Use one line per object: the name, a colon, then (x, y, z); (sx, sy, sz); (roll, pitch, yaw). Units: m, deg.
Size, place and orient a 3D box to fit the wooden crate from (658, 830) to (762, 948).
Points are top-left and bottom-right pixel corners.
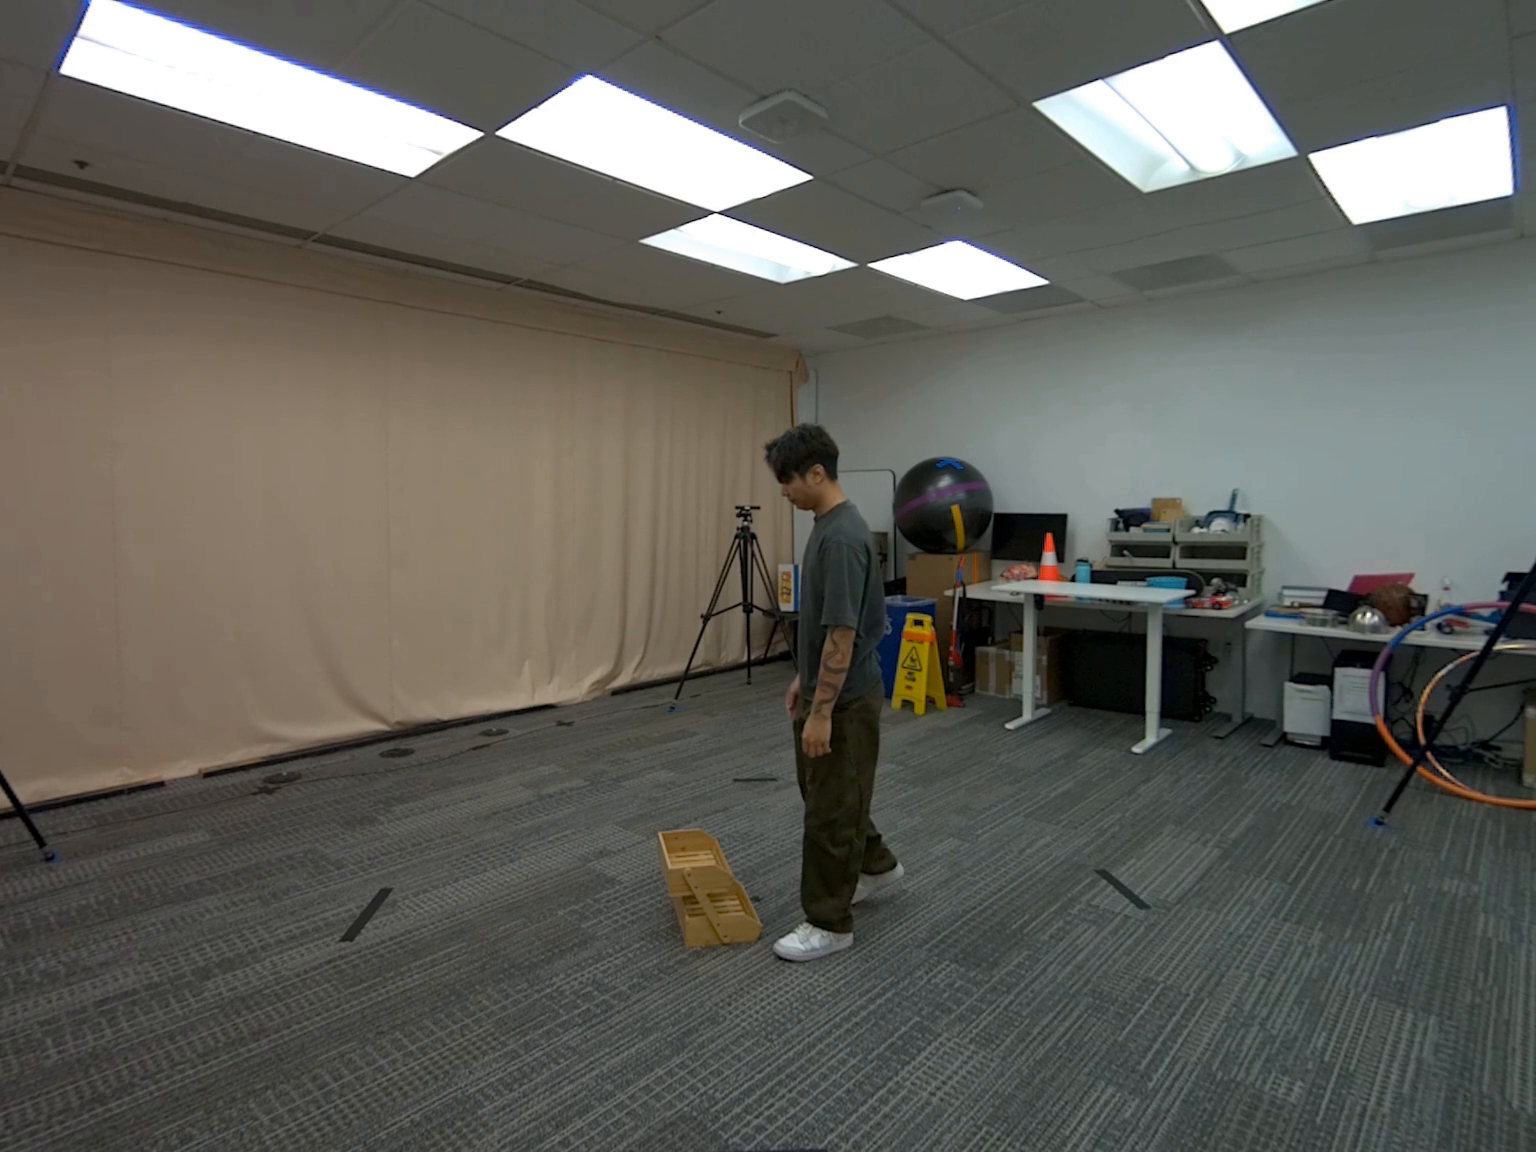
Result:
wooden crate: (-0.203, 1.037, 2.811); (0.298, 0.272, 0.329); (-3, 4, -12)
